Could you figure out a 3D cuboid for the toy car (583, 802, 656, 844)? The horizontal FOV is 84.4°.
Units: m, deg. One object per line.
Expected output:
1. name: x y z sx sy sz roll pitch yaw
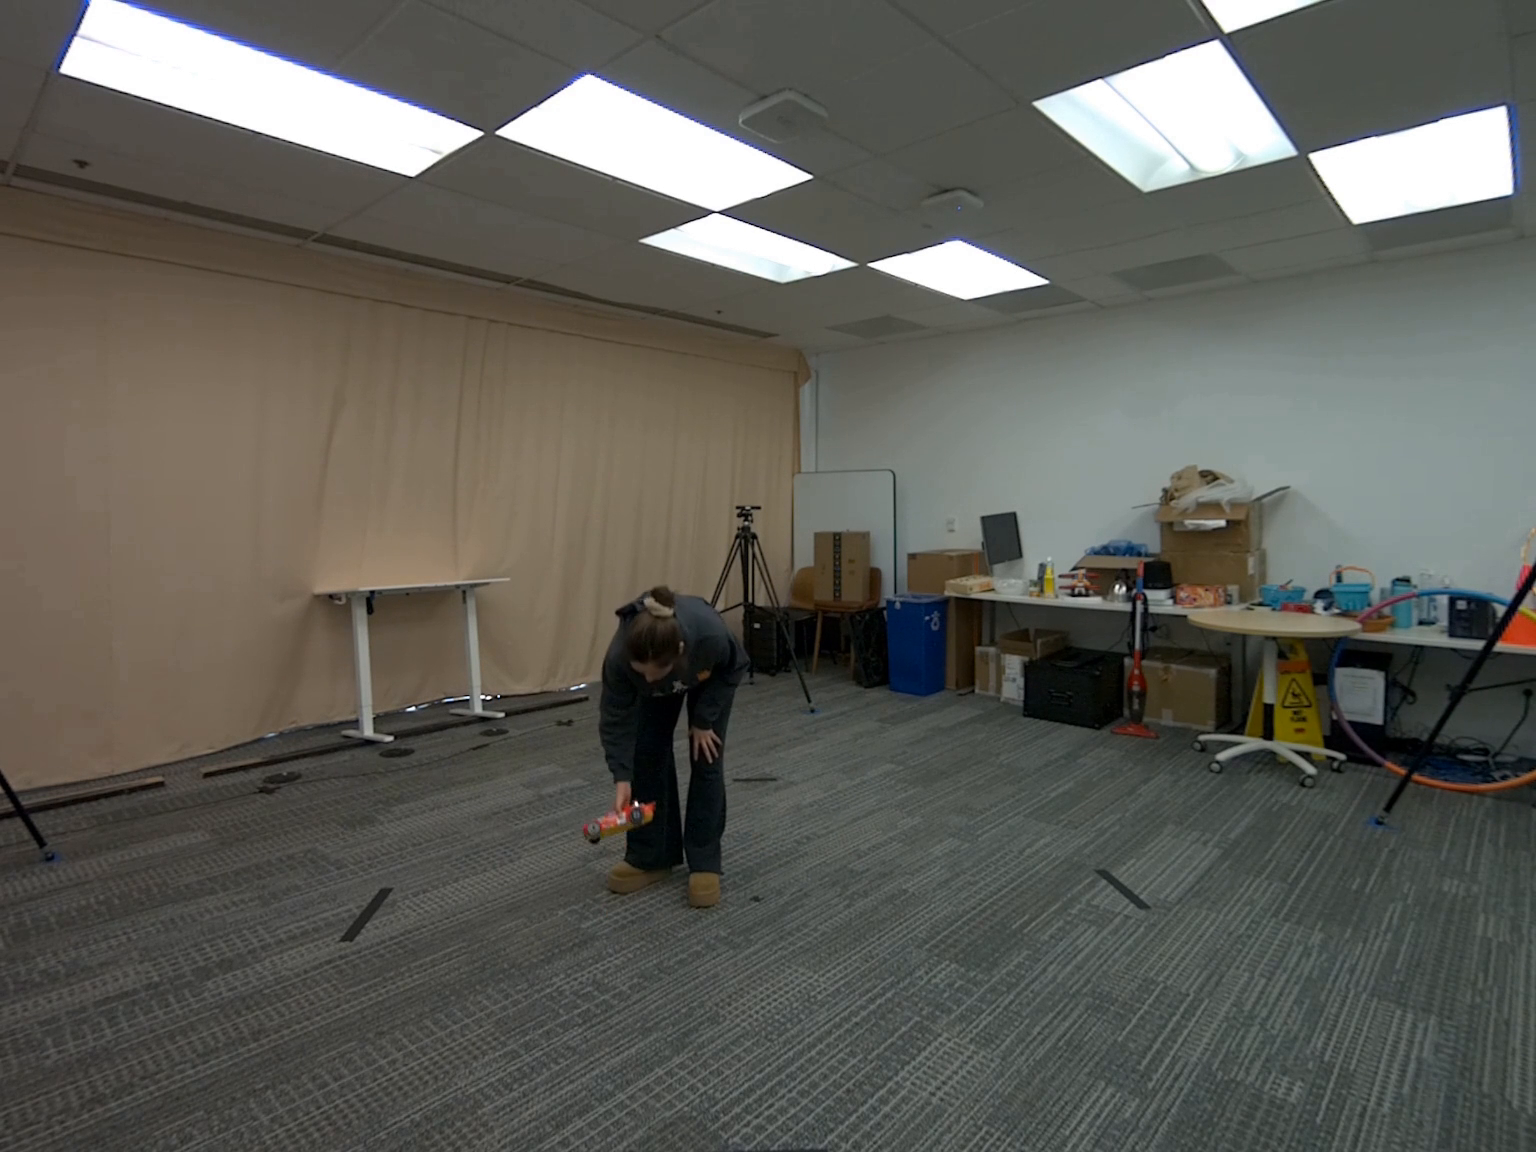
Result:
1. toy car: -0.490 0.851 2.809 0.251 0.085 0.129 -16 -28 -16
